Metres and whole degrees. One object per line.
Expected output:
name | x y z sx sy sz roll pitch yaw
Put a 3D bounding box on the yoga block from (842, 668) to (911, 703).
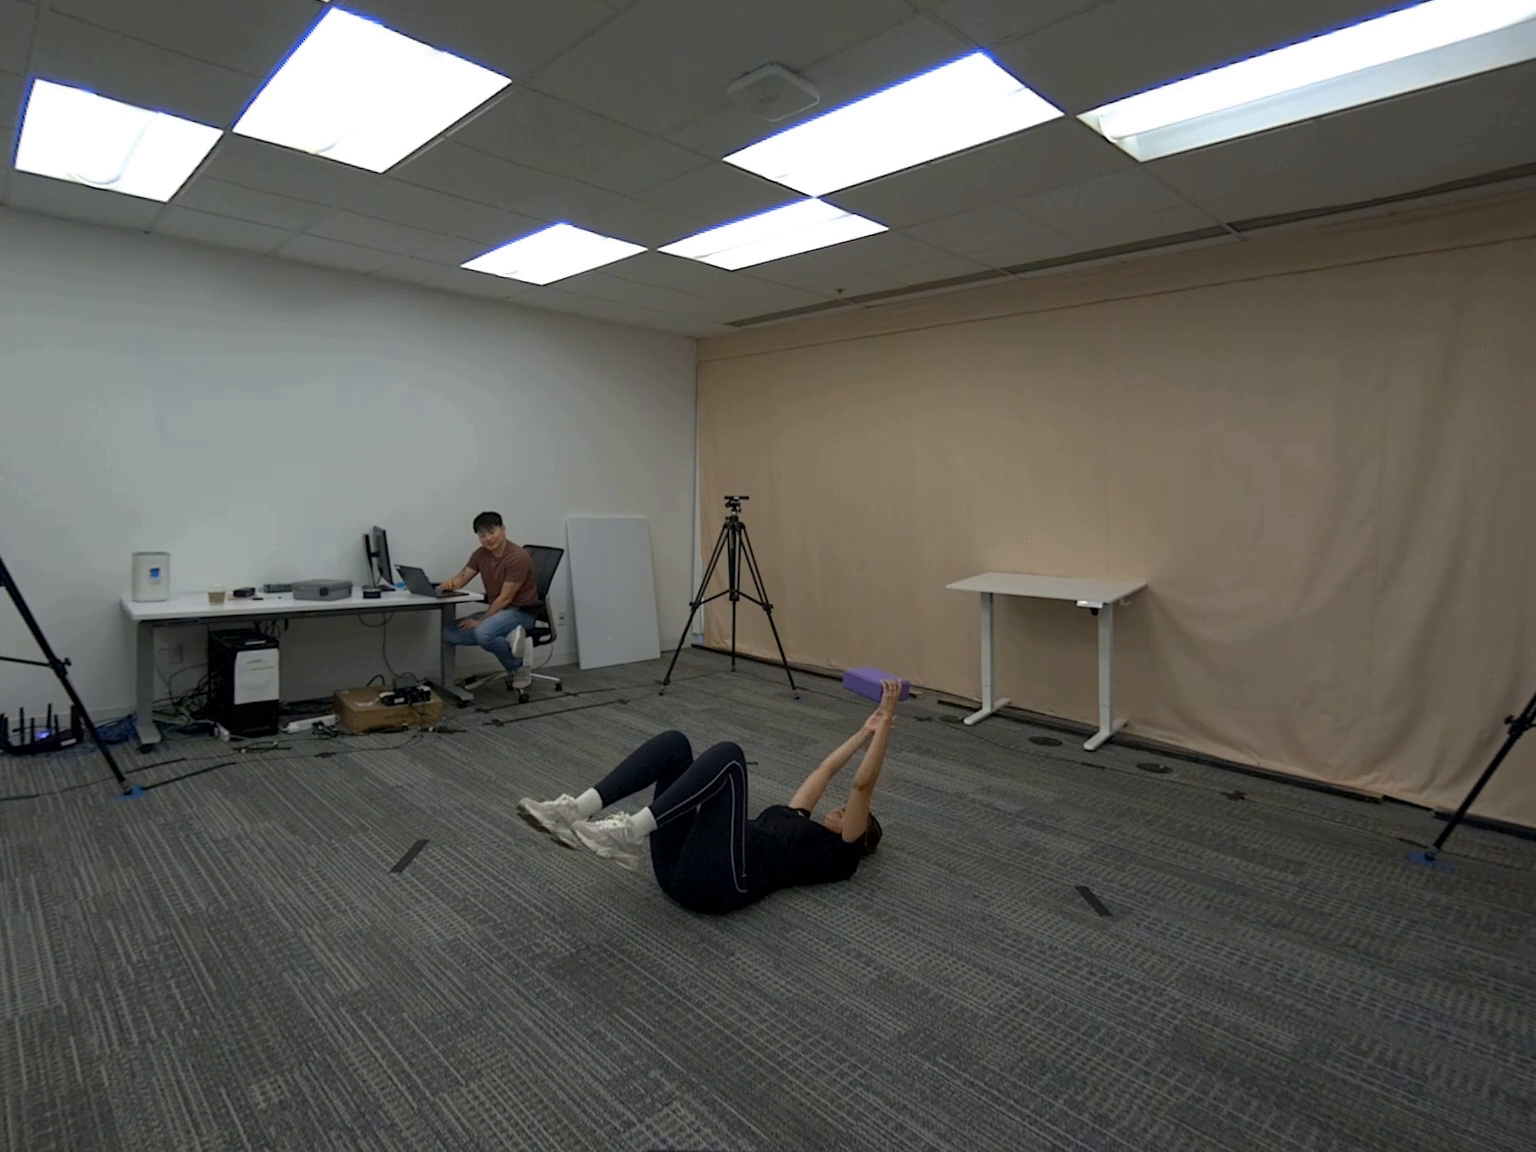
yoga block | 0.422 0.422 3.244 0.146 0.076 0.235 0 8 -31
